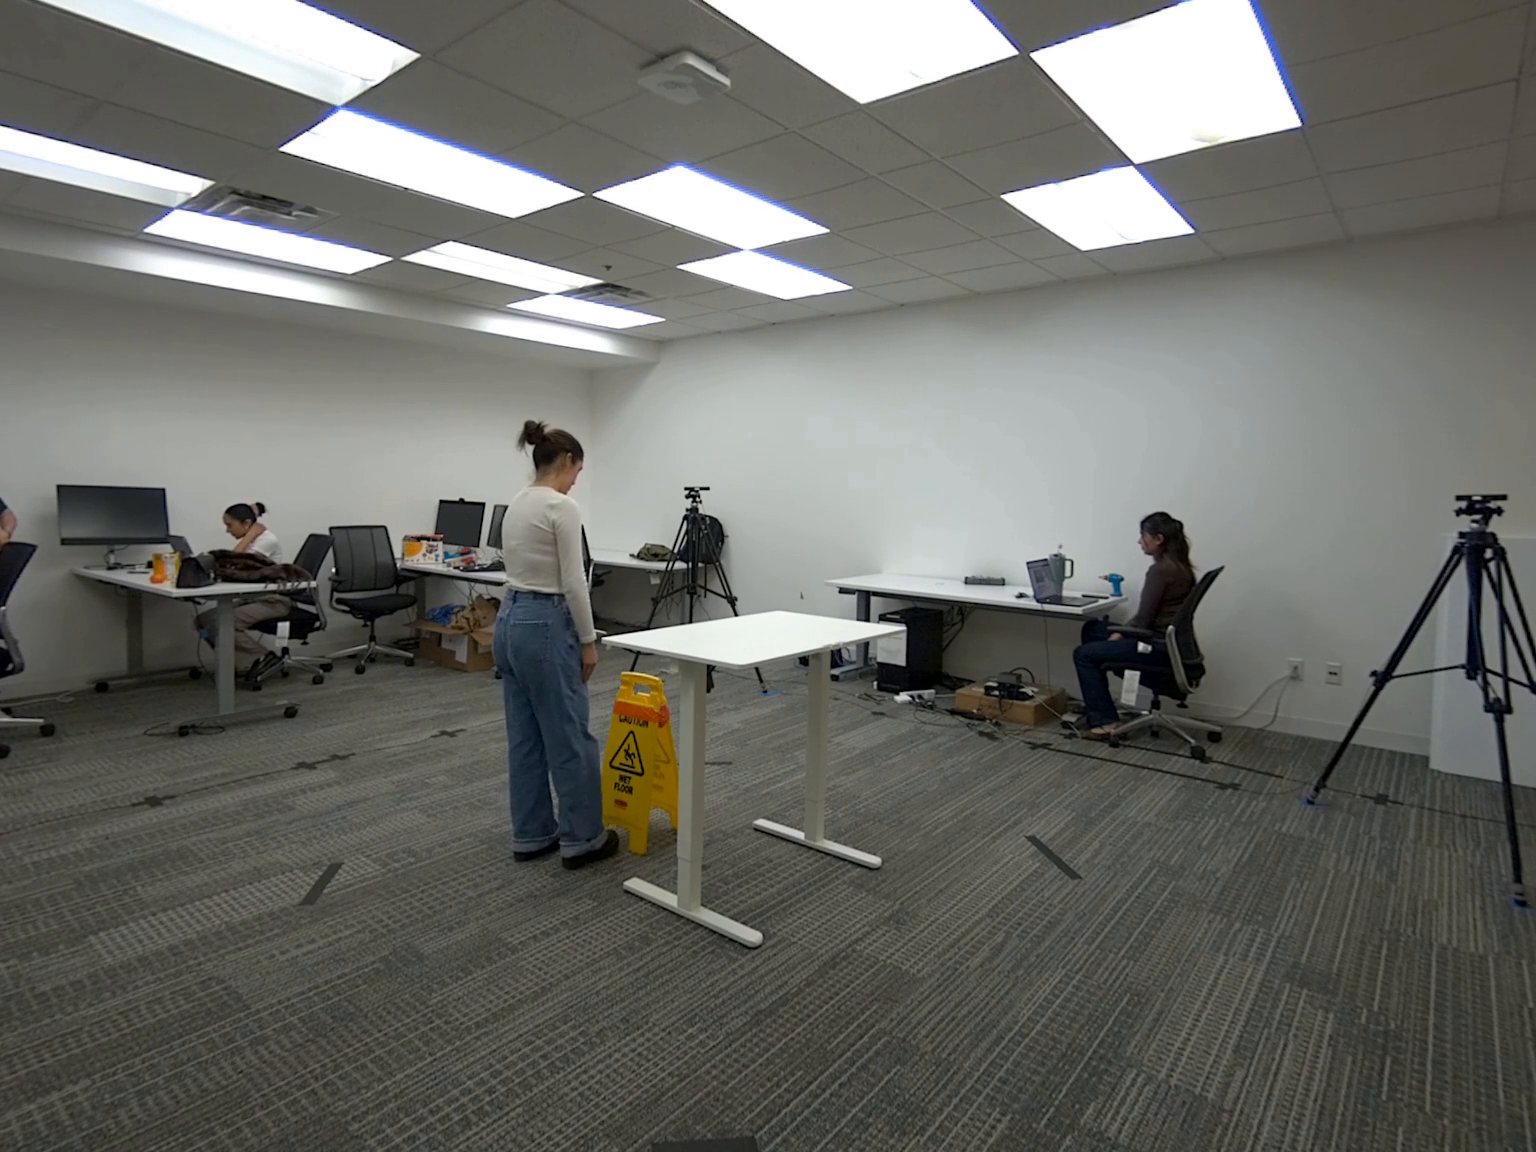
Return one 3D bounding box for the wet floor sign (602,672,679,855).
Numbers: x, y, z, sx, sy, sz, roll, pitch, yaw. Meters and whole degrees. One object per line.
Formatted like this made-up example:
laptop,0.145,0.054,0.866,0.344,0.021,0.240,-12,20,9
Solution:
wet floor sign,-0.524,0.714,3.387,0.291,0.644,0.282,3,4,33
